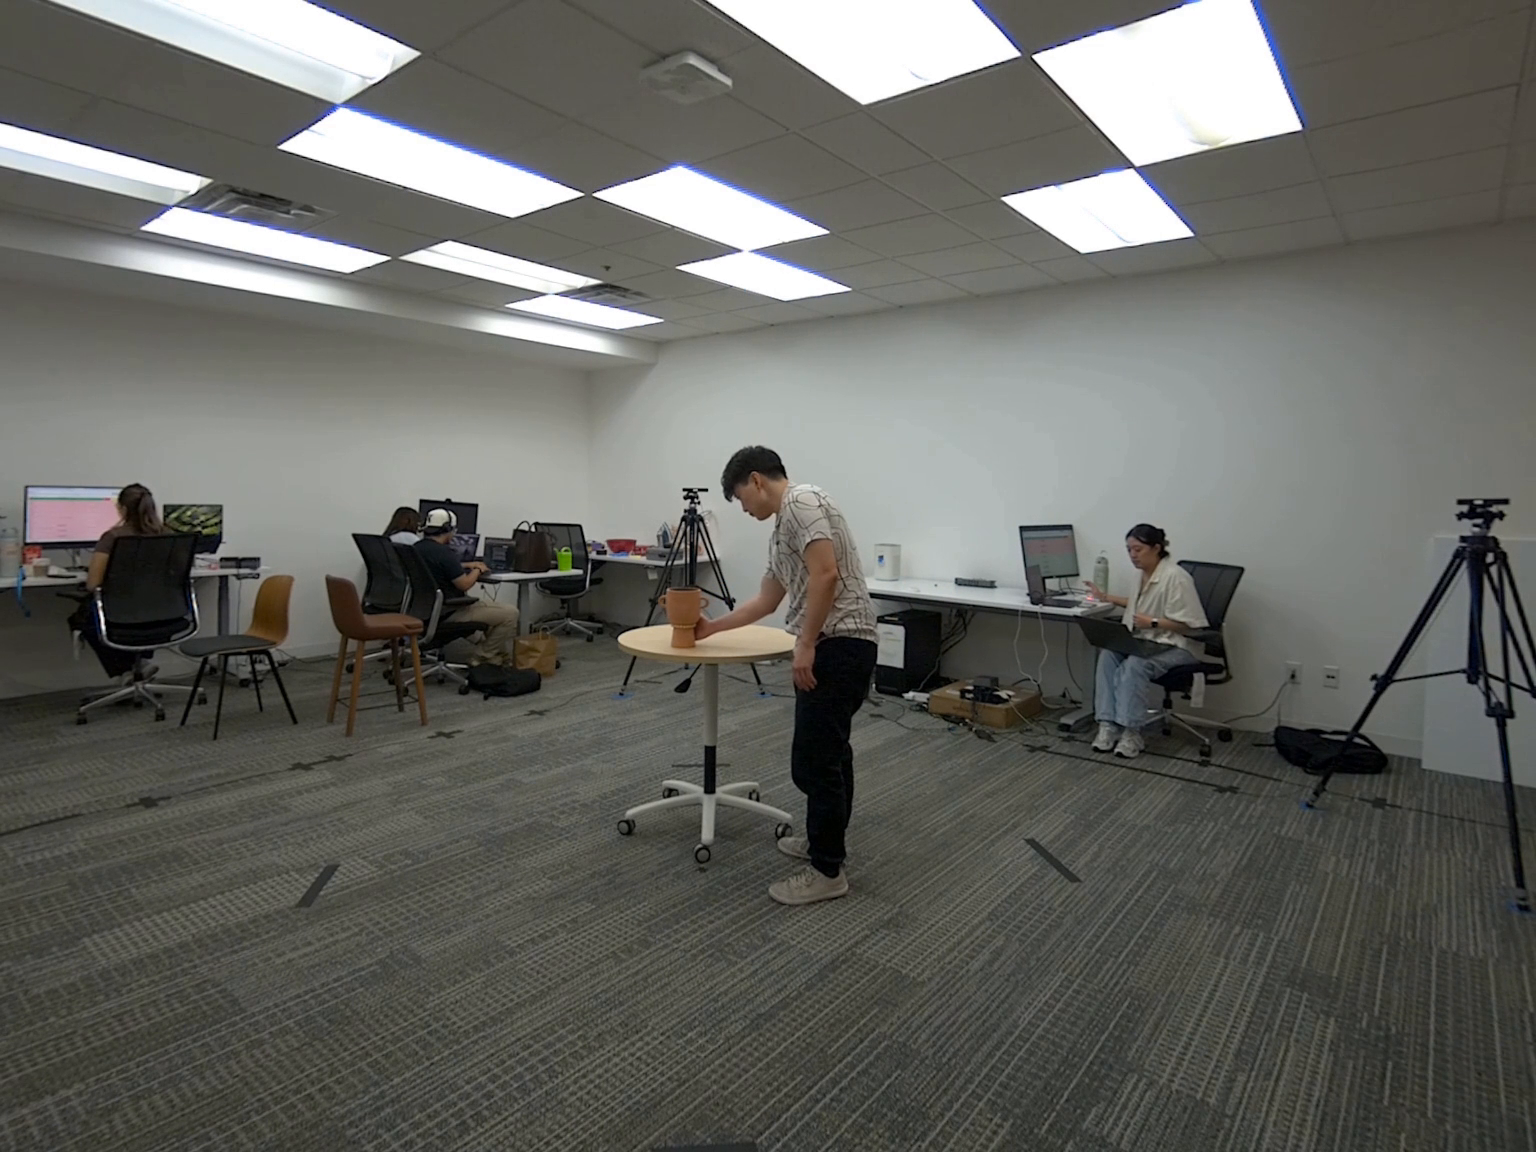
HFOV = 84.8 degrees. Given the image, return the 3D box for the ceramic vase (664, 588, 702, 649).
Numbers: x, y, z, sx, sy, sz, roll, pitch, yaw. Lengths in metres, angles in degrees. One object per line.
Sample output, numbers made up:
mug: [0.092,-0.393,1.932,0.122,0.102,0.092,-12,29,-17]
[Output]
ceramic vase: [-0.341,0.159,3.301,0.164,0.219,0.130,4,6,44]
